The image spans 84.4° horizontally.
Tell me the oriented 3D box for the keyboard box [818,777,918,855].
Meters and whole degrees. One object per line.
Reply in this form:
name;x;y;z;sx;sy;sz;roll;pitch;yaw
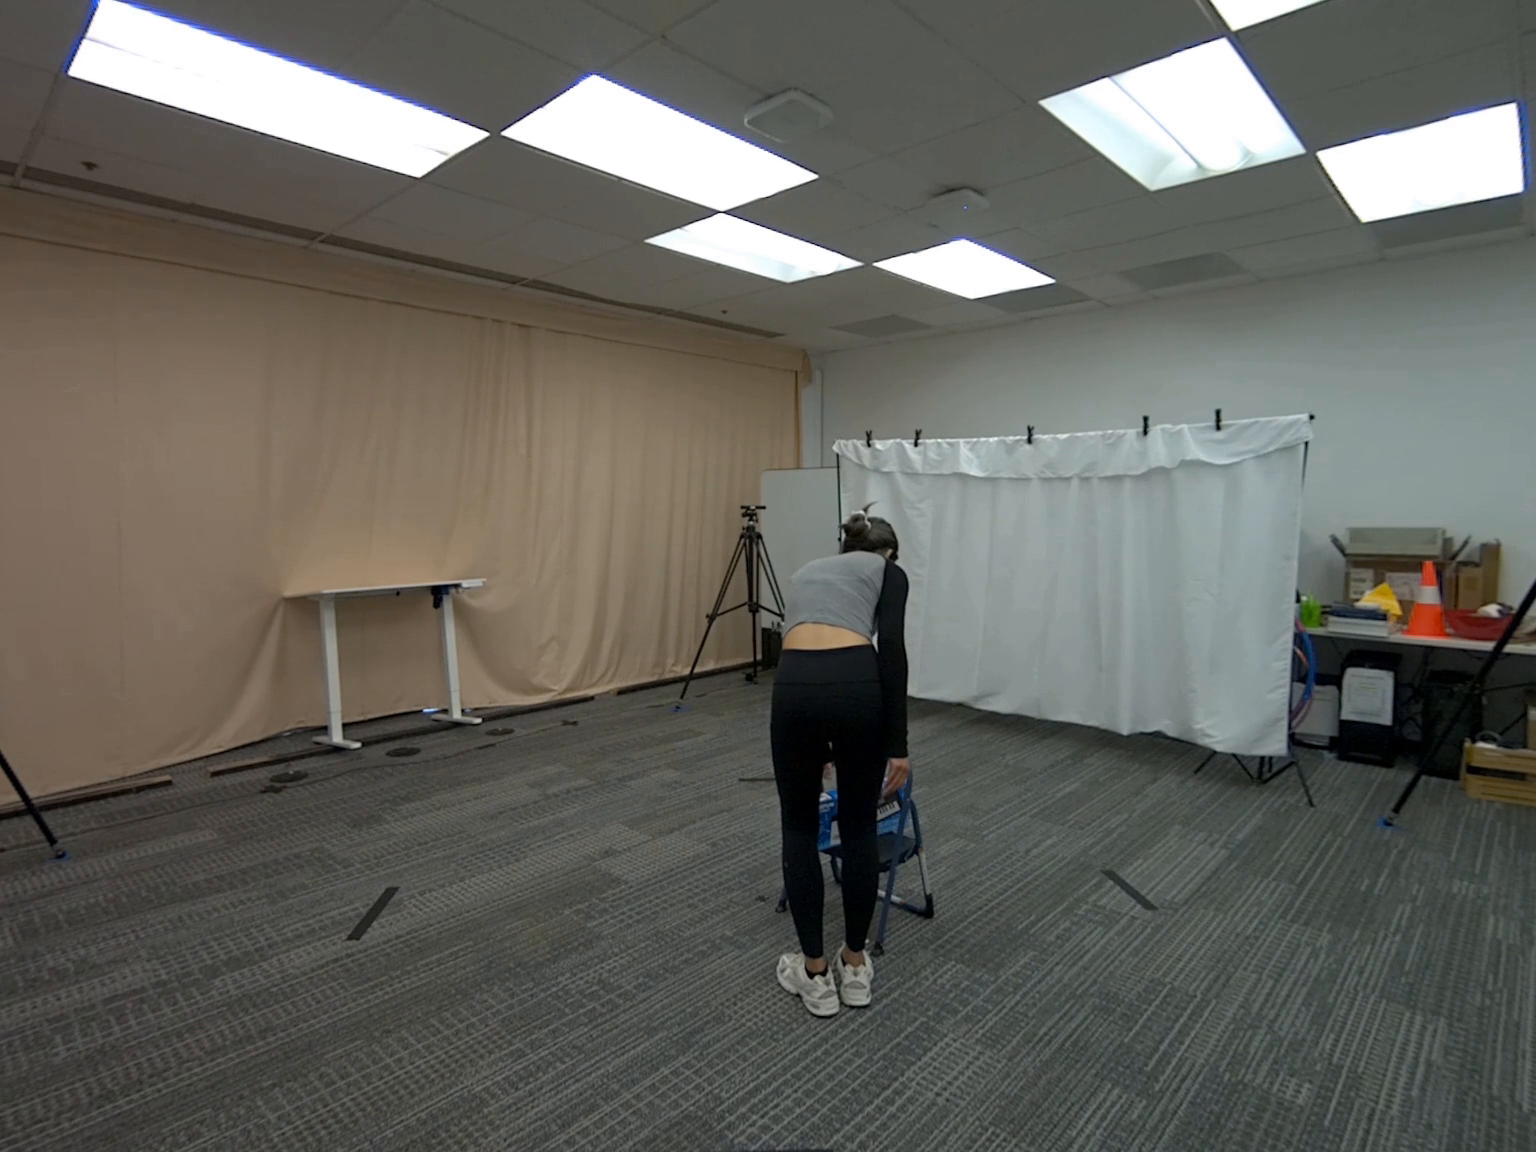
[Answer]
keyboard box;0.307;0.804;2.850;0.425;0.175;0.061;-4;10;-29
